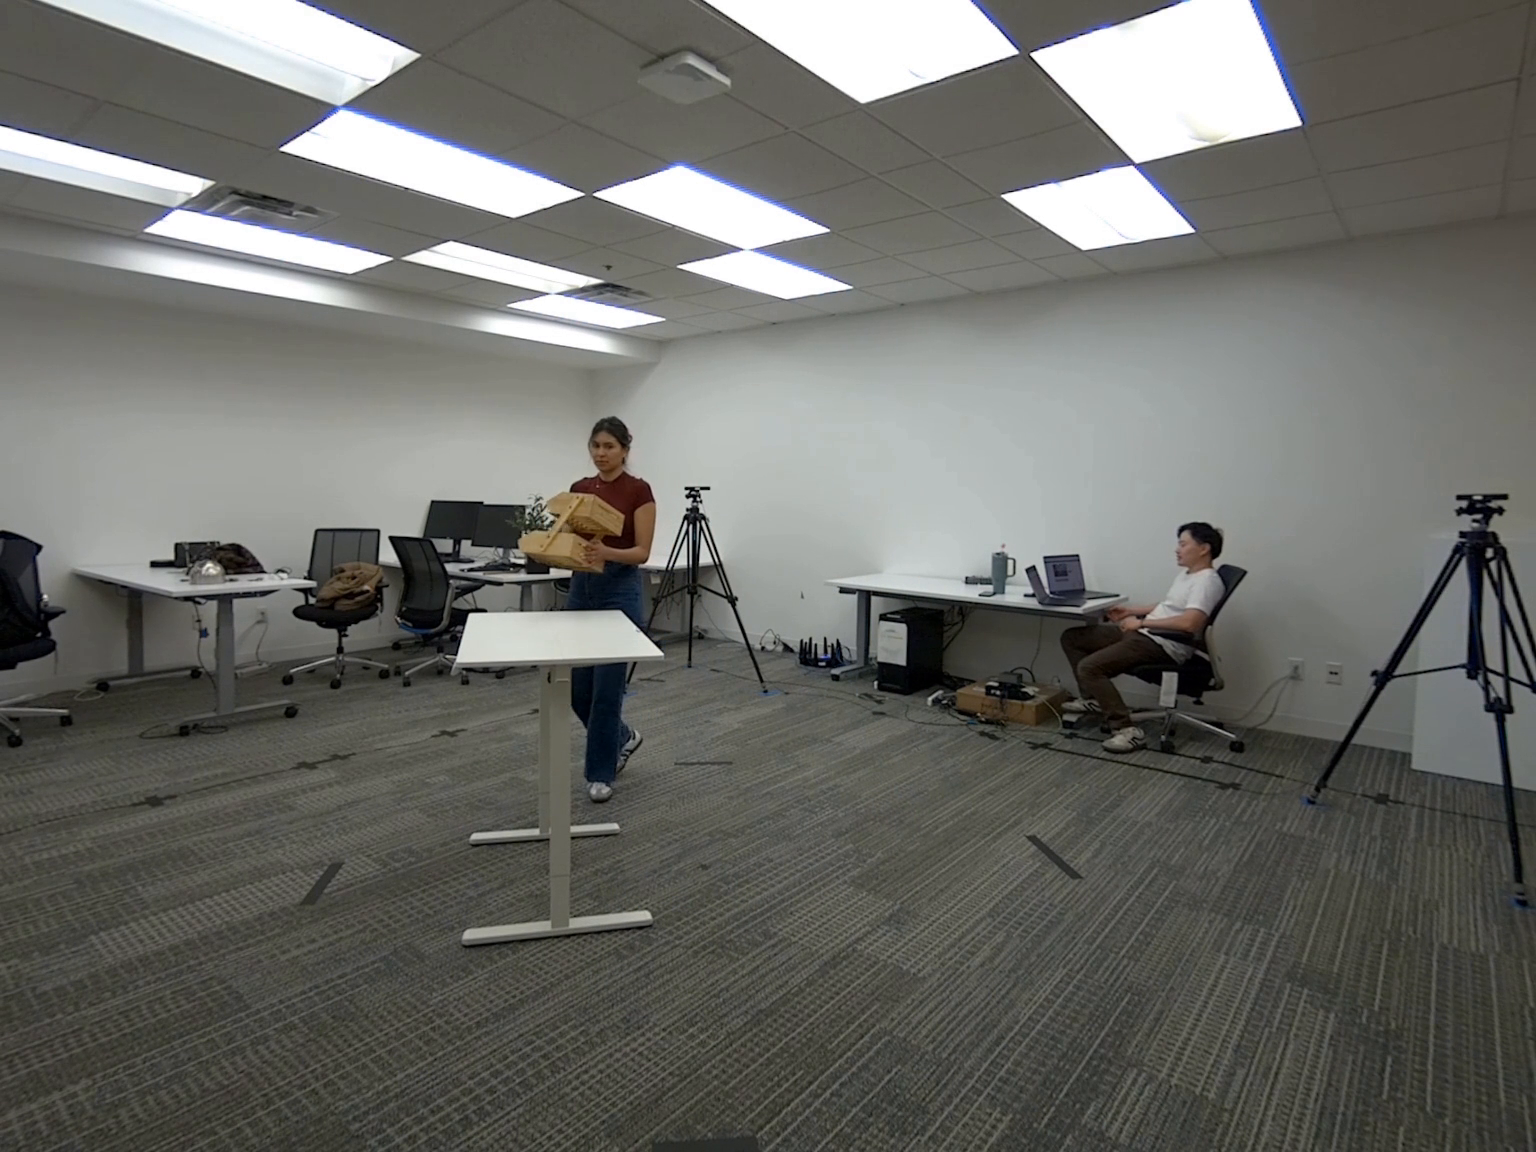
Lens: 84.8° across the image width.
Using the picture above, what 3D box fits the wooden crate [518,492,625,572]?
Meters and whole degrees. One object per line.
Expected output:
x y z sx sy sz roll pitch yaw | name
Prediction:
-0.837 -0.189 3.549 0.308 0.276 0.315 6 -12 17 | wooden crate
